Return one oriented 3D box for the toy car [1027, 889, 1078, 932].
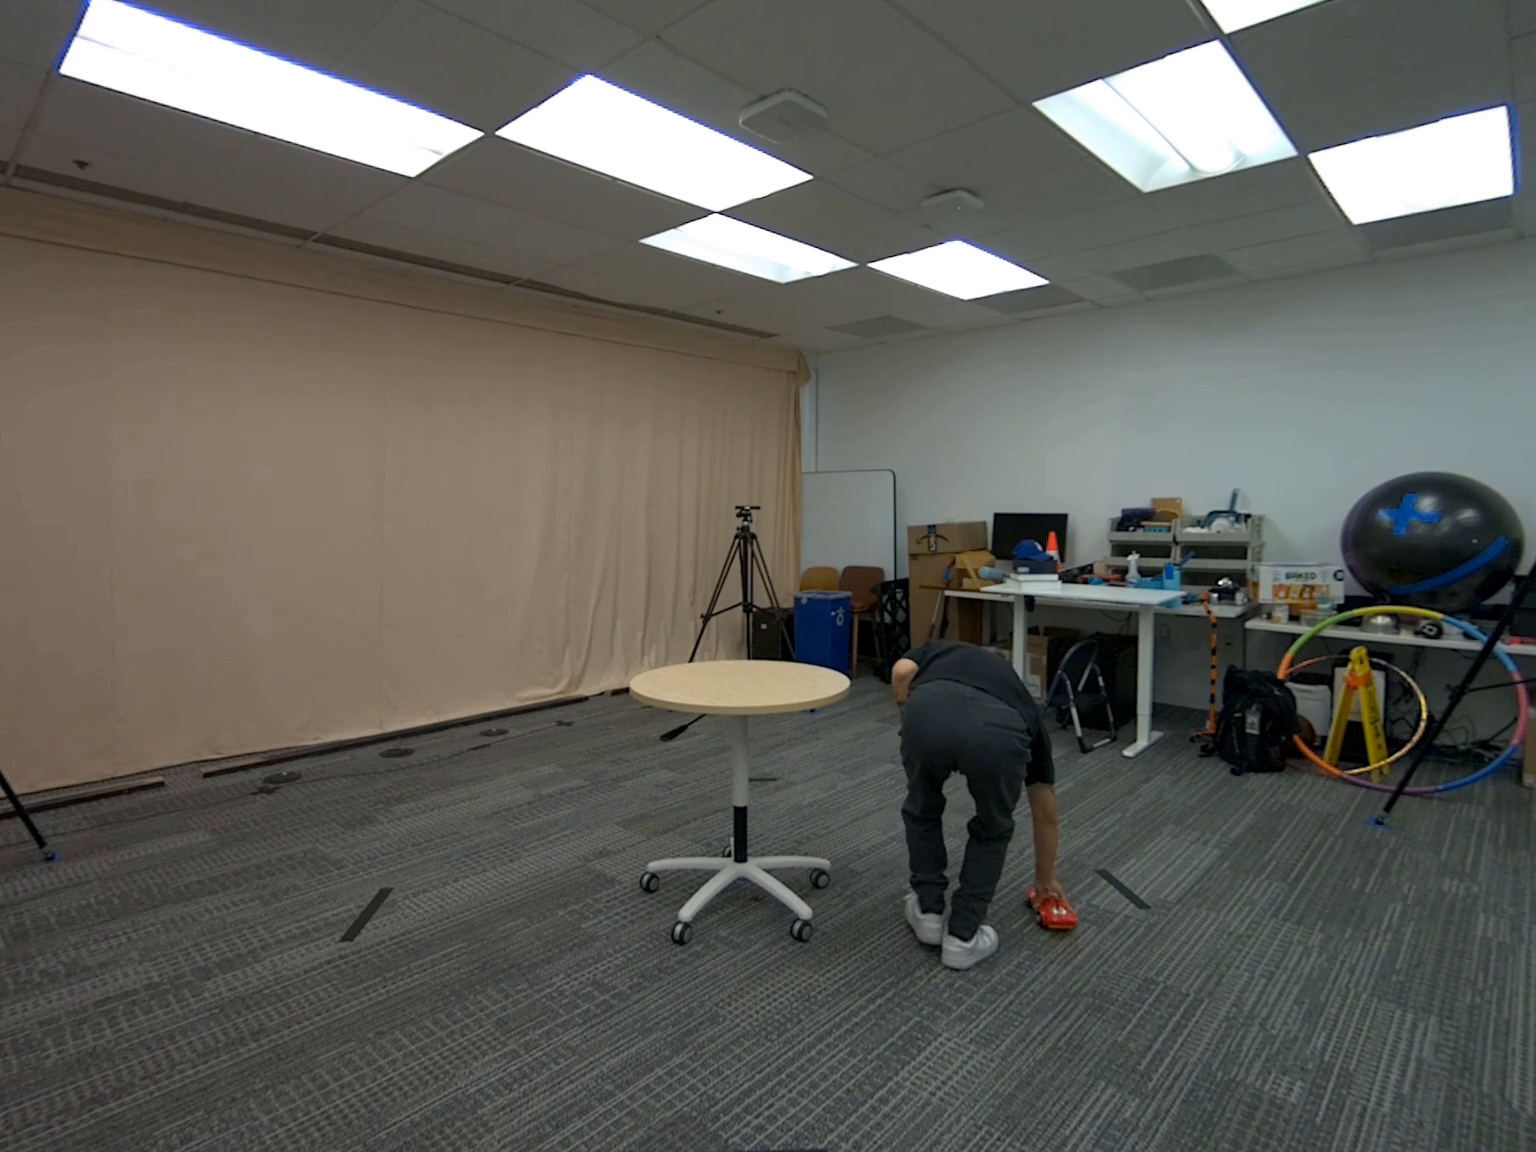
[{"bbox_3d":[0.956,1.125,2.824,0.131,0.083,0.252,1,-7,2],"label":"toy car"}]
